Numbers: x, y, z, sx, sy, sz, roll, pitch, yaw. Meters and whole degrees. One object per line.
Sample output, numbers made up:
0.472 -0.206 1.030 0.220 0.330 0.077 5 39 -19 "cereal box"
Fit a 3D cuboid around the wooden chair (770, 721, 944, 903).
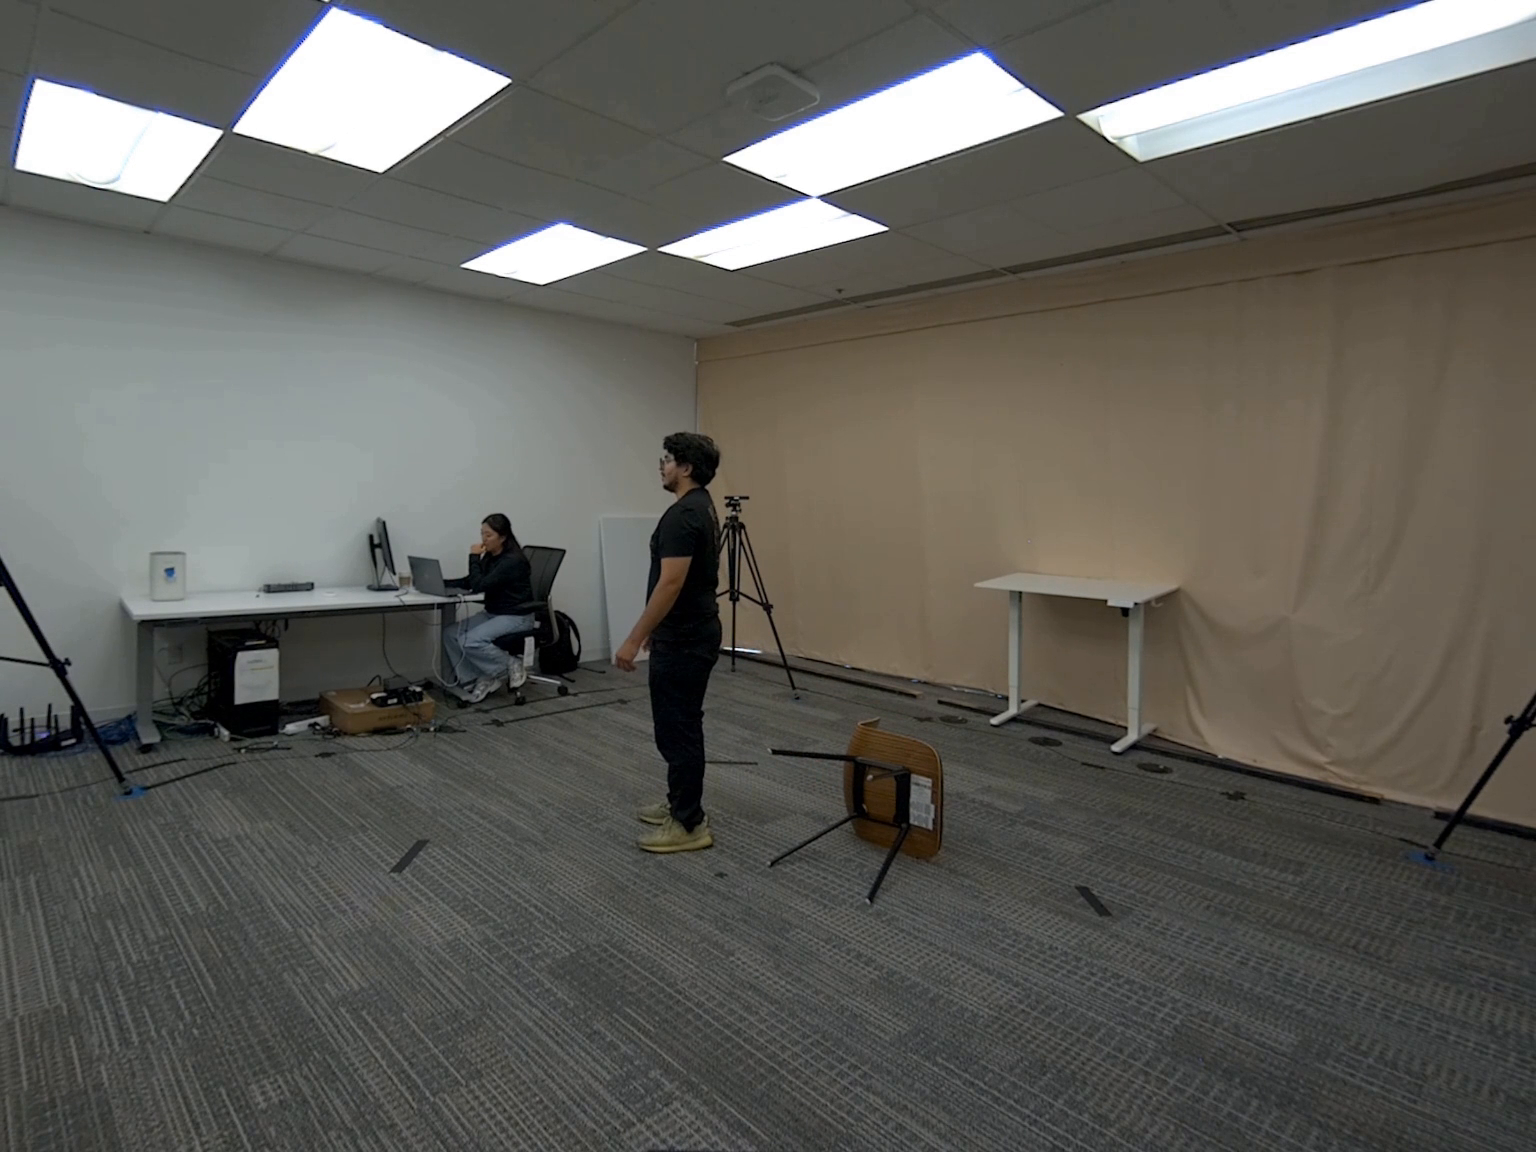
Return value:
0.436 0.866 3.347 0.535 0.477 0.859 4 5 35 "wooden chair"
